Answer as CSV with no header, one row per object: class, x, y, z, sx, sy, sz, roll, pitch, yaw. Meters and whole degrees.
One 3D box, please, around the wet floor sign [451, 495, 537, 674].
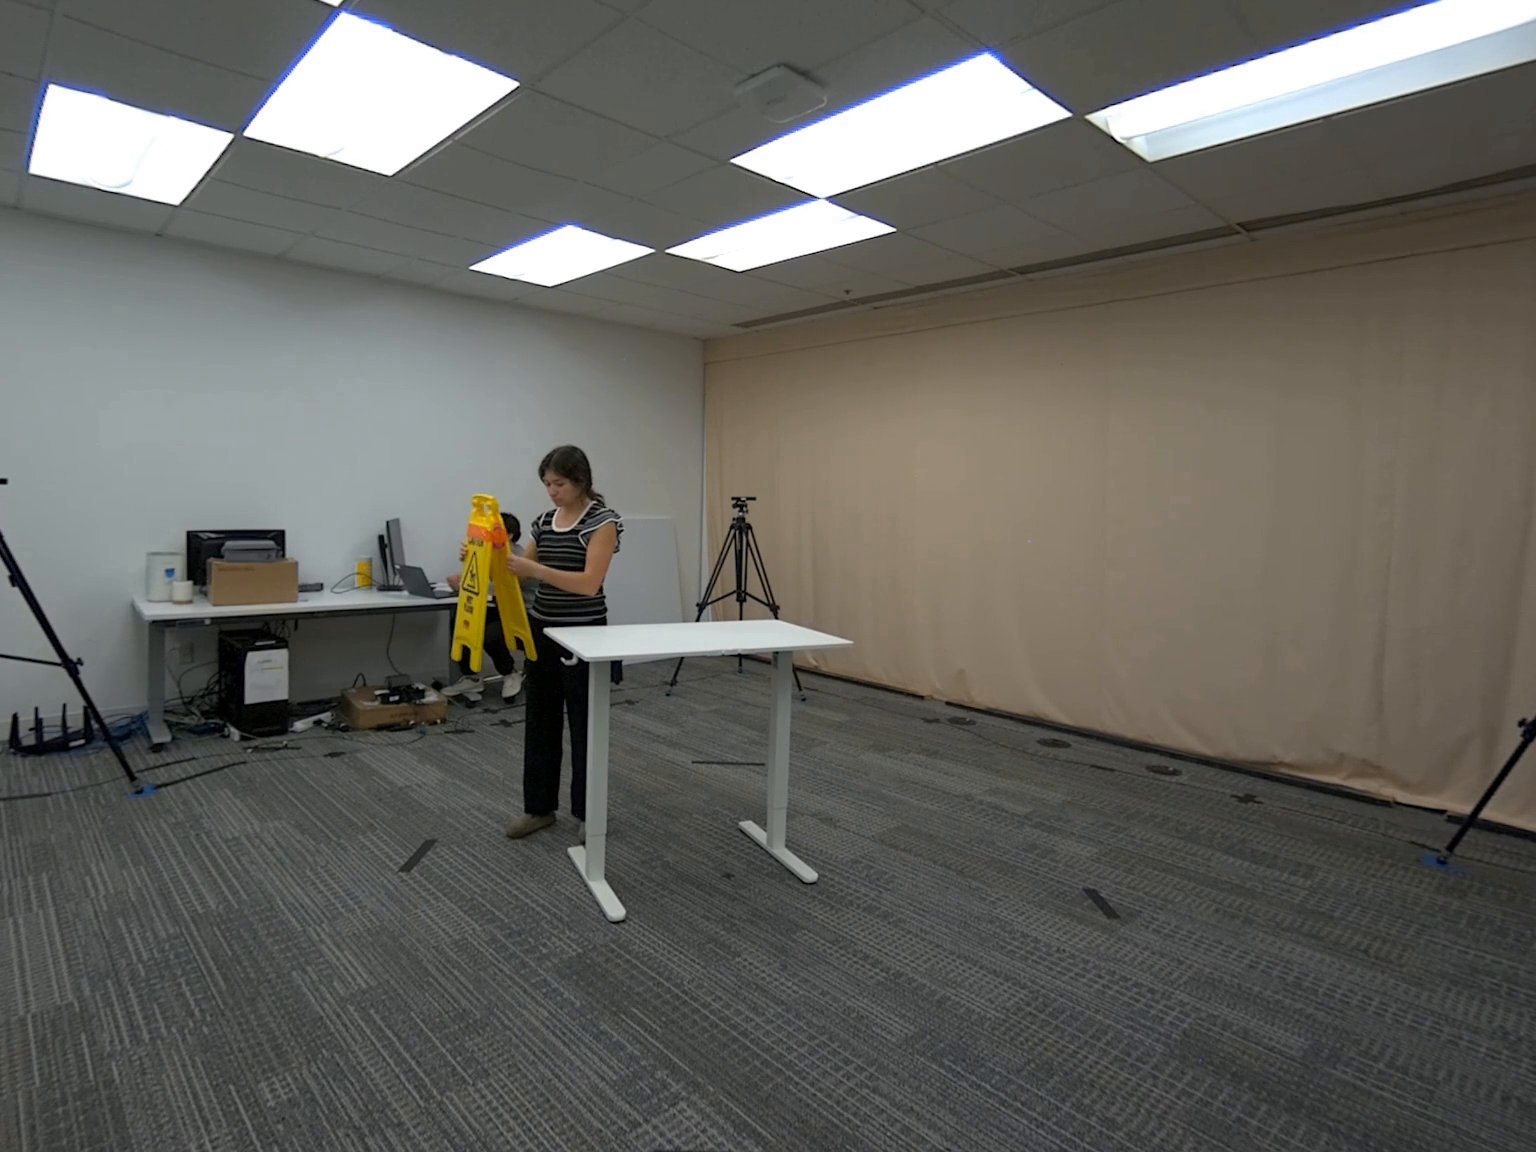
wet floor sign,-1.088,0.009,3.284,0.284,0.642,0.290,-7,11,-38
